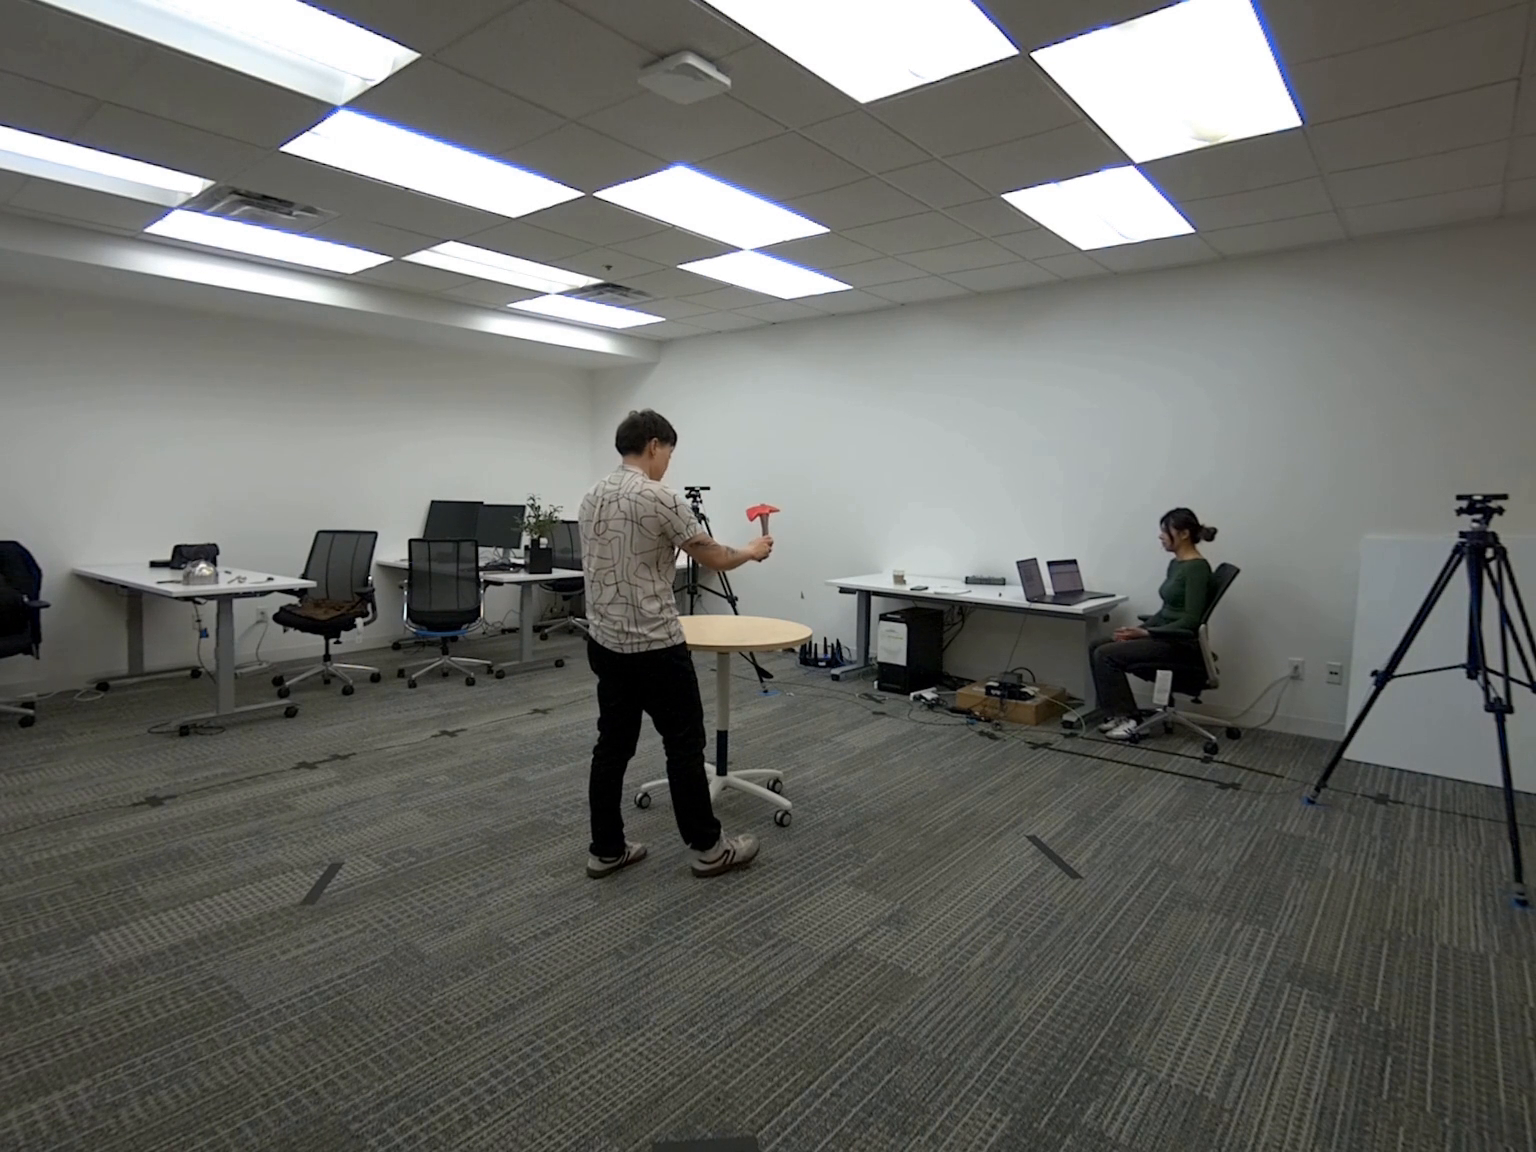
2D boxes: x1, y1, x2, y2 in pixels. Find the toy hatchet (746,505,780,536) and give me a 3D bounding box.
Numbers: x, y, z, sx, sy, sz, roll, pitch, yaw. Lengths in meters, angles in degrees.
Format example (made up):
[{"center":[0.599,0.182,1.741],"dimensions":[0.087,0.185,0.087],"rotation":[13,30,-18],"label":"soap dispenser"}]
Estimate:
[{"center":[-0.061,-0.179,3.317],"dimensions":[0.133,0.274,0.029],"rotation":[14,-34,9],"label":"toy hatchet"}]
